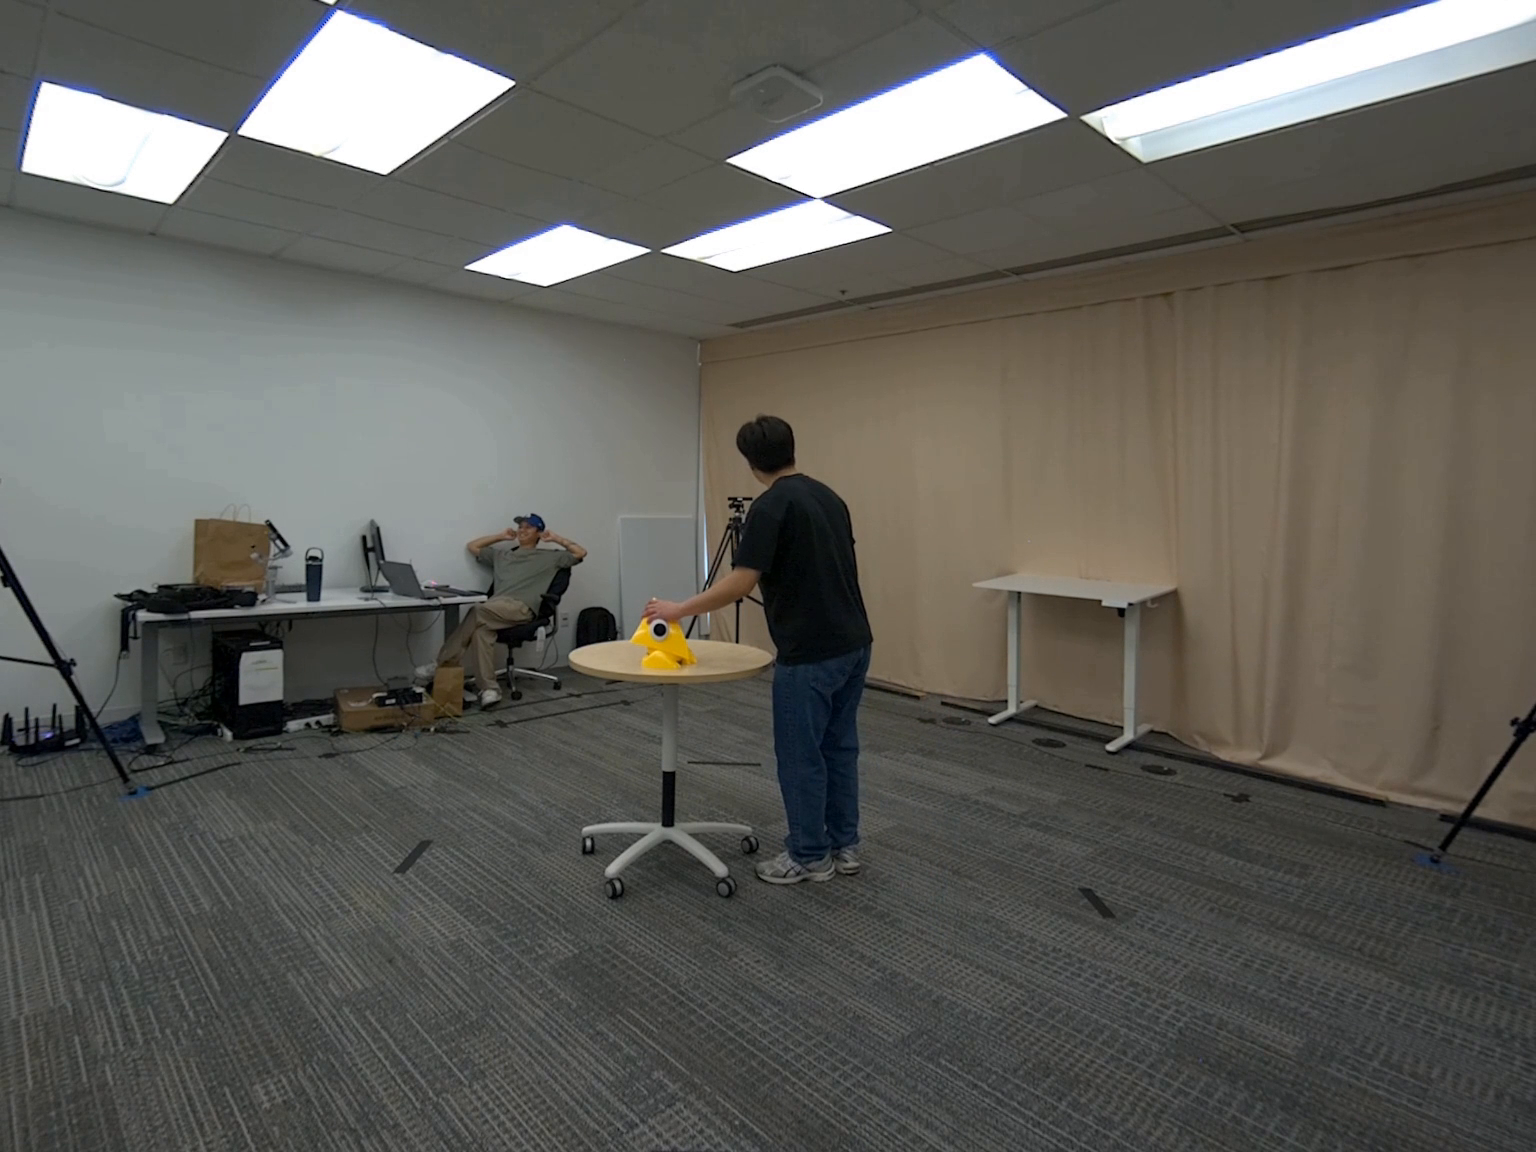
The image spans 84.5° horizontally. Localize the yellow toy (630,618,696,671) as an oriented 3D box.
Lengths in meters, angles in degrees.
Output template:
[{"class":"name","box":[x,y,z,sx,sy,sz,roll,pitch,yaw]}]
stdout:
[{"class":"yellow toy","box":[-0.364,0.199,3.016,0.197,0.230,0.201,4,5,26]}]
